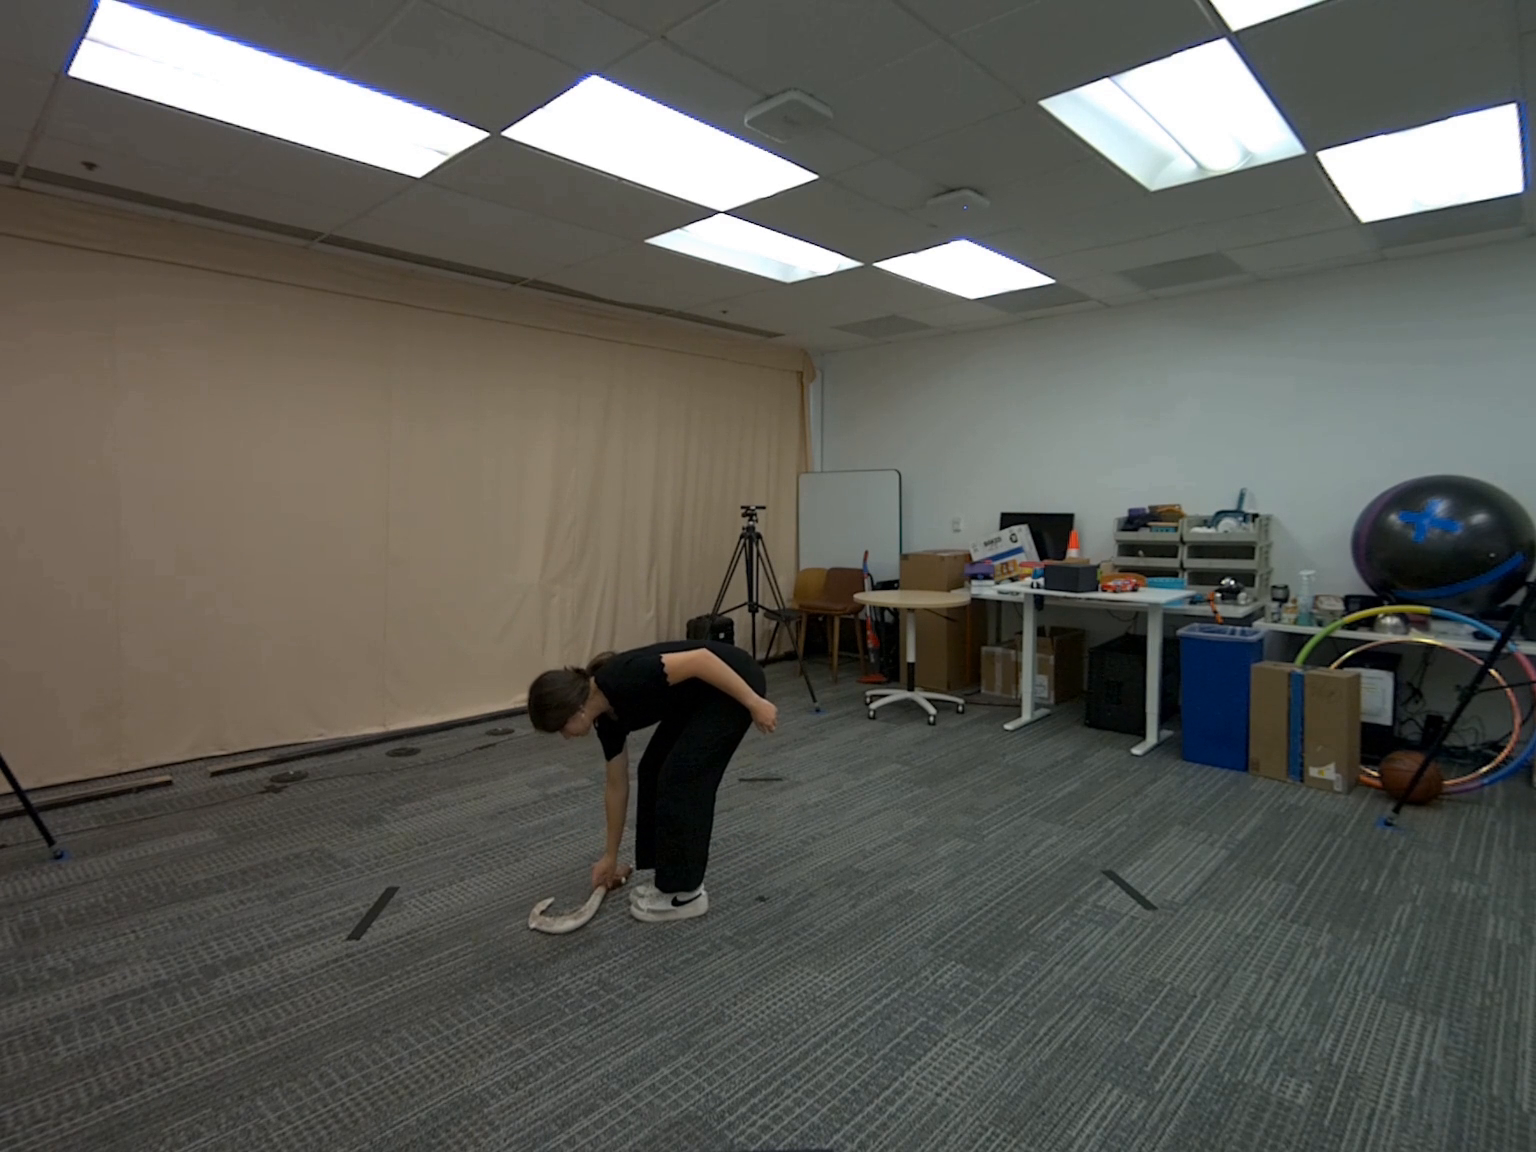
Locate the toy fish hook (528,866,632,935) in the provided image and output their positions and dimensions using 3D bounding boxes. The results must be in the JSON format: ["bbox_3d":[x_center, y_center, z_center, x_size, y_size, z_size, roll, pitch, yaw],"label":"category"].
[{"bbox_3d":[-0.653,1.122,2.977,0.230,0.048,0.496,3,5,20],"label":"toy fish hook"}]
